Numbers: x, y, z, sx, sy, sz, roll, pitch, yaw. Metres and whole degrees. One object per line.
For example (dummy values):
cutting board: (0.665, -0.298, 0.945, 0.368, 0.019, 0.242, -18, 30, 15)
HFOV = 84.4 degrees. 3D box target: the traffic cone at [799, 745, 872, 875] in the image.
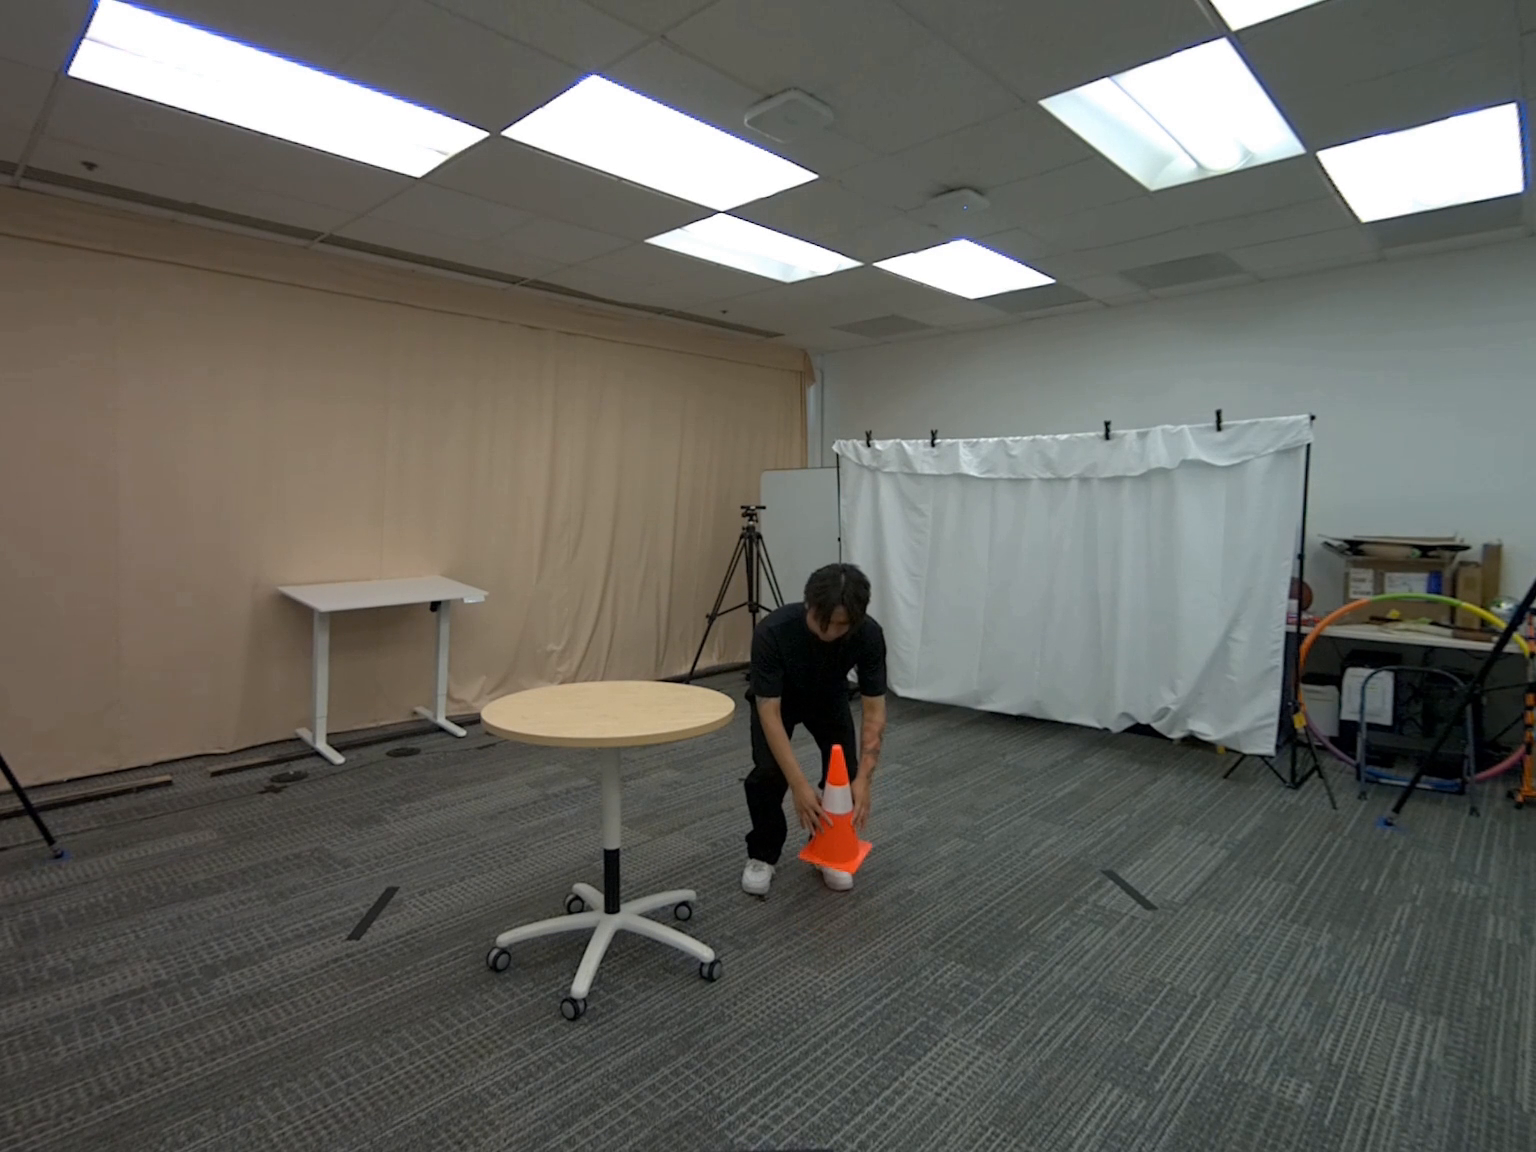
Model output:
traffic cone: (0.212, 0.752, 2.788, 0.209, 0.380, 0.201, 1, 14, 31)
